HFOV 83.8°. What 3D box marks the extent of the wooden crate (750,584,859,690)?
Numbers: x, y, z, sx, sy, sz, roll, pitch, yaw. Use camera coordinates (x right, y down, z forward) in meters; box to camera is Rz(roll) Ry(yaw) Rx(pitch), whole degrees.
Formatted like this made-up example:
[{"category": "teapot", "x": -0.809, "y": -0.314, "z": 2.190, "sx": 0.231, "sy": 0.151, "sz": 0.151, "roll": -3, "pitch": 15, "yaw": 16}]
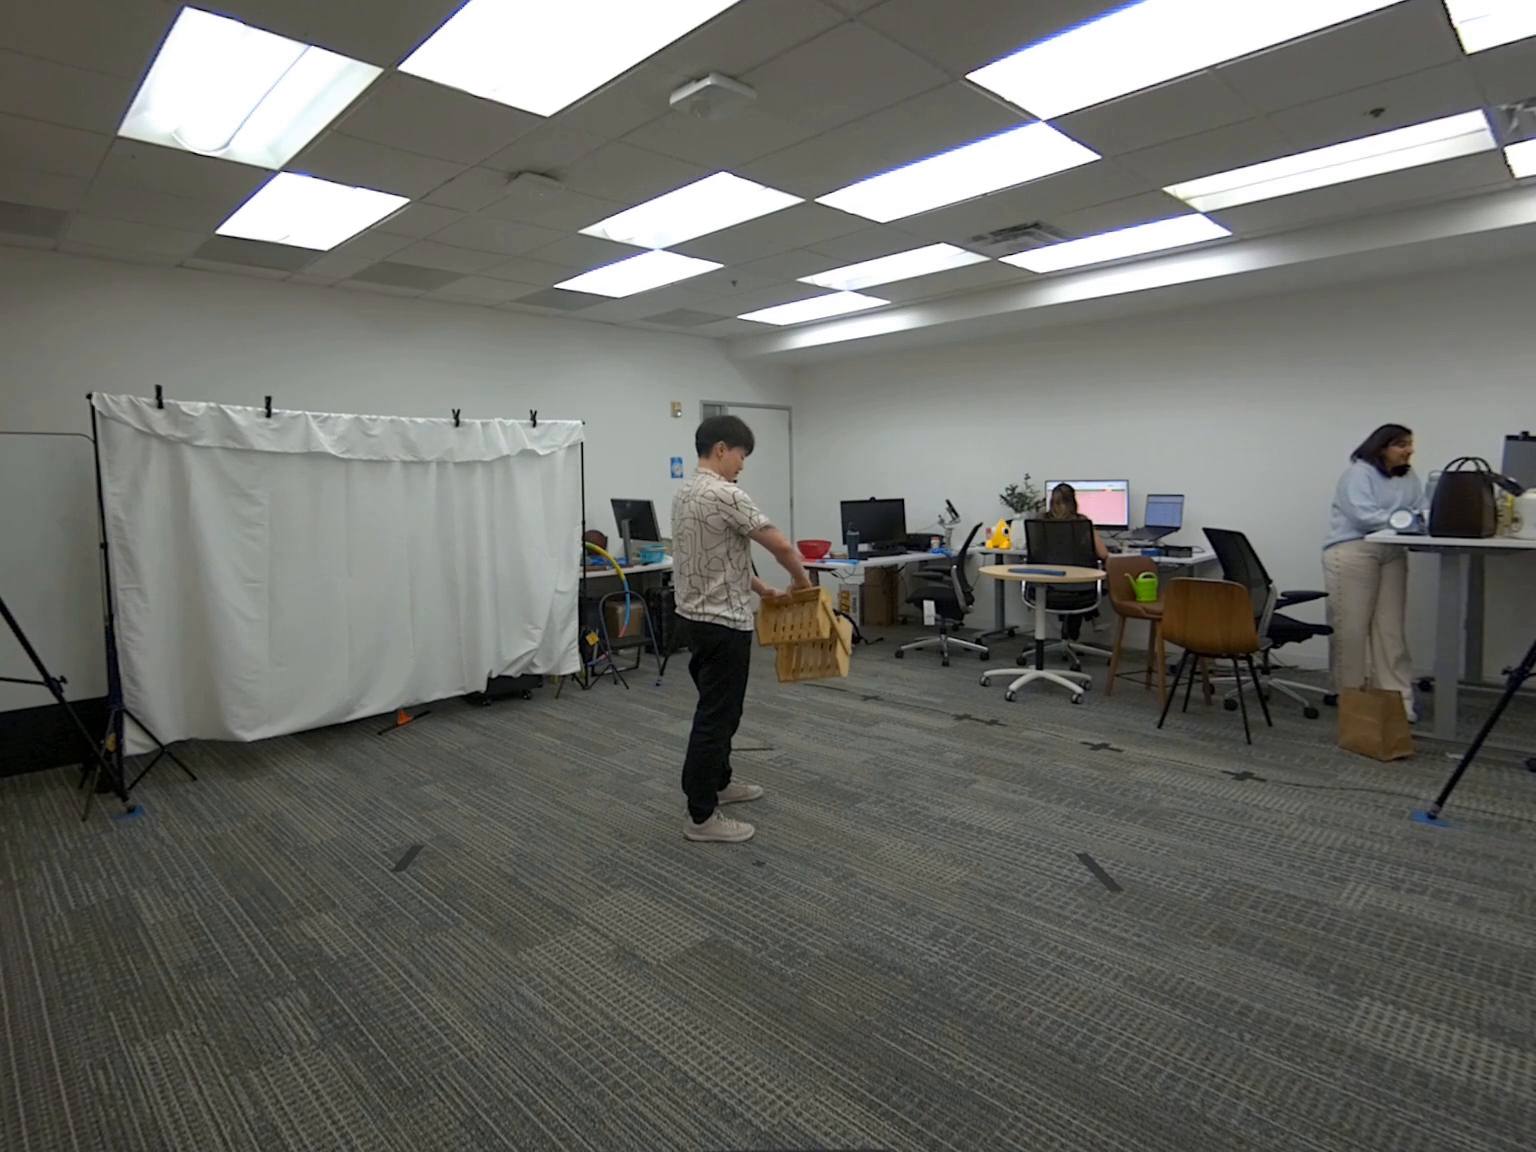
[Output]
[{"category": "wooden crate", "x": 0.146, "y": 0.252, "z": 3.492, "sx": 0.331, "sy": 0.308, "sz": 0.263, "roll": -12, "pitch": -36, "yaw": 34}]
